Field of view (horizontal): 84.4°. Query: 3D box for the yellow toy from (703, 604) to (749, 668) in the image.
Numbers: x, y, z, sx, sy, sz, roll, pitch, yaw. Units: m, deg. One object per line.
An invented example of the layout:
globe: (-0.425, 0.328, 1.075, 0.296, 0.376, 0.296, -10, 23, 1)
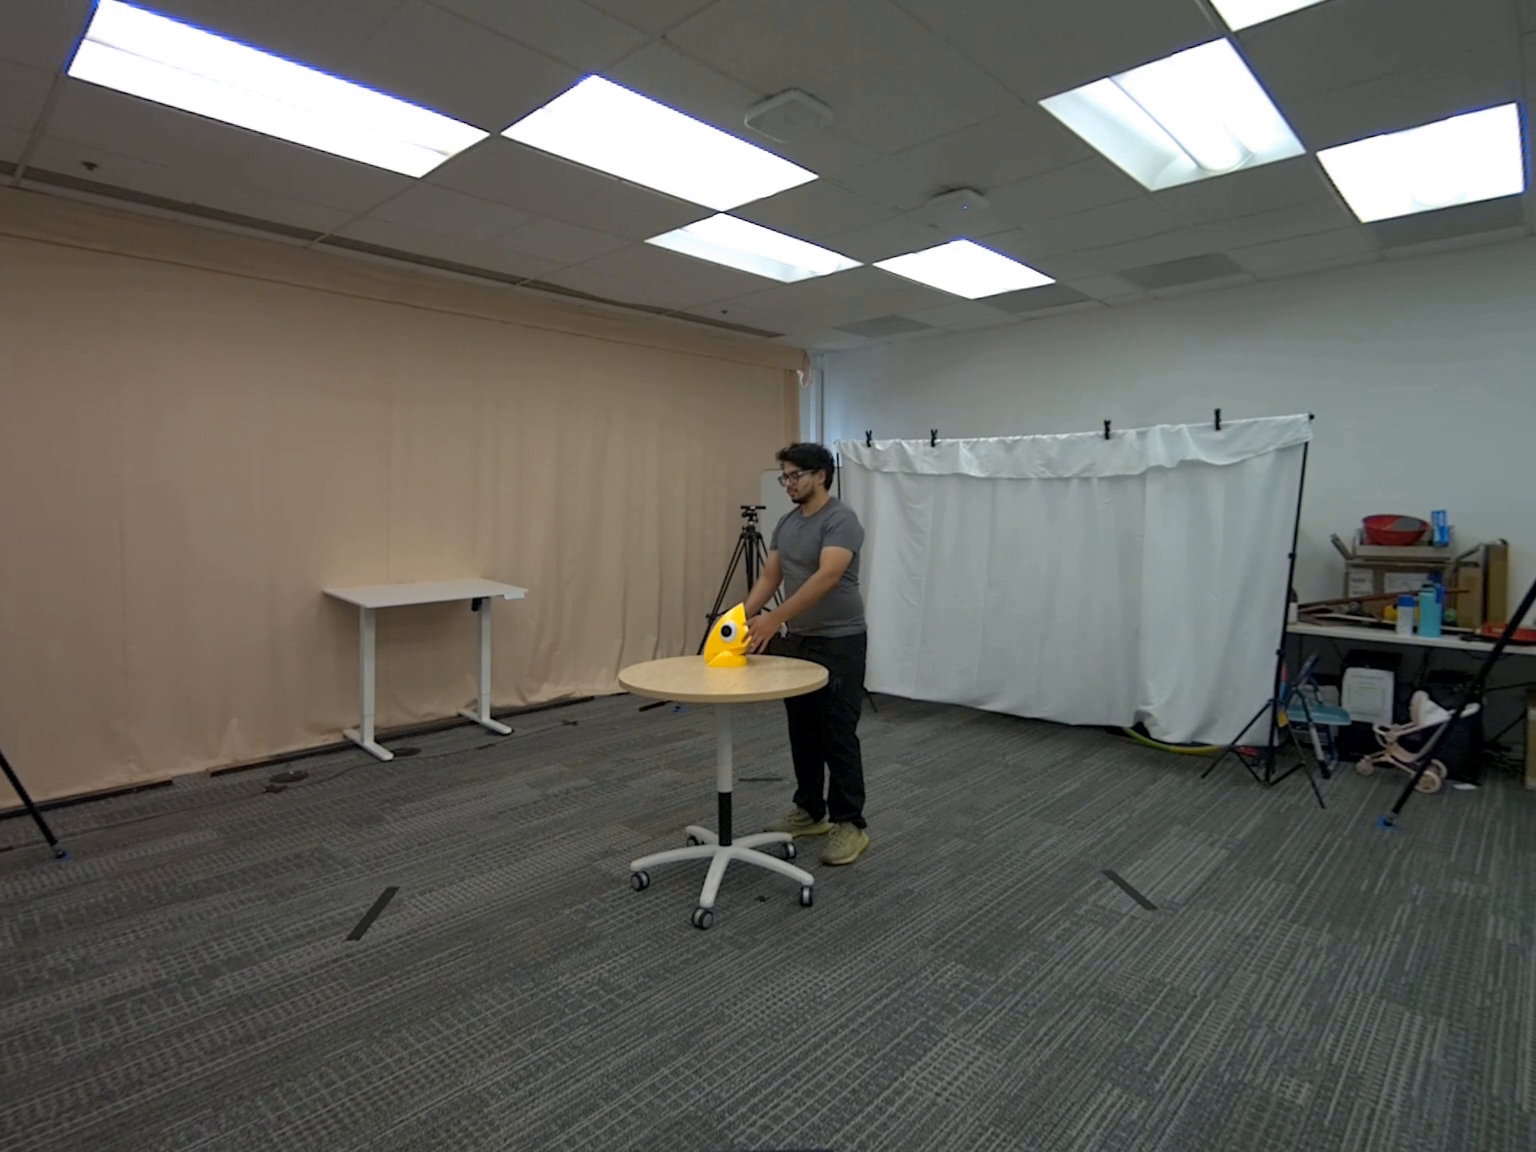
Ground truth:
yellow toy: (-0.156, 0.224, 3.278, 0.192, 0.230, 0.206, -1, 3, -7)
